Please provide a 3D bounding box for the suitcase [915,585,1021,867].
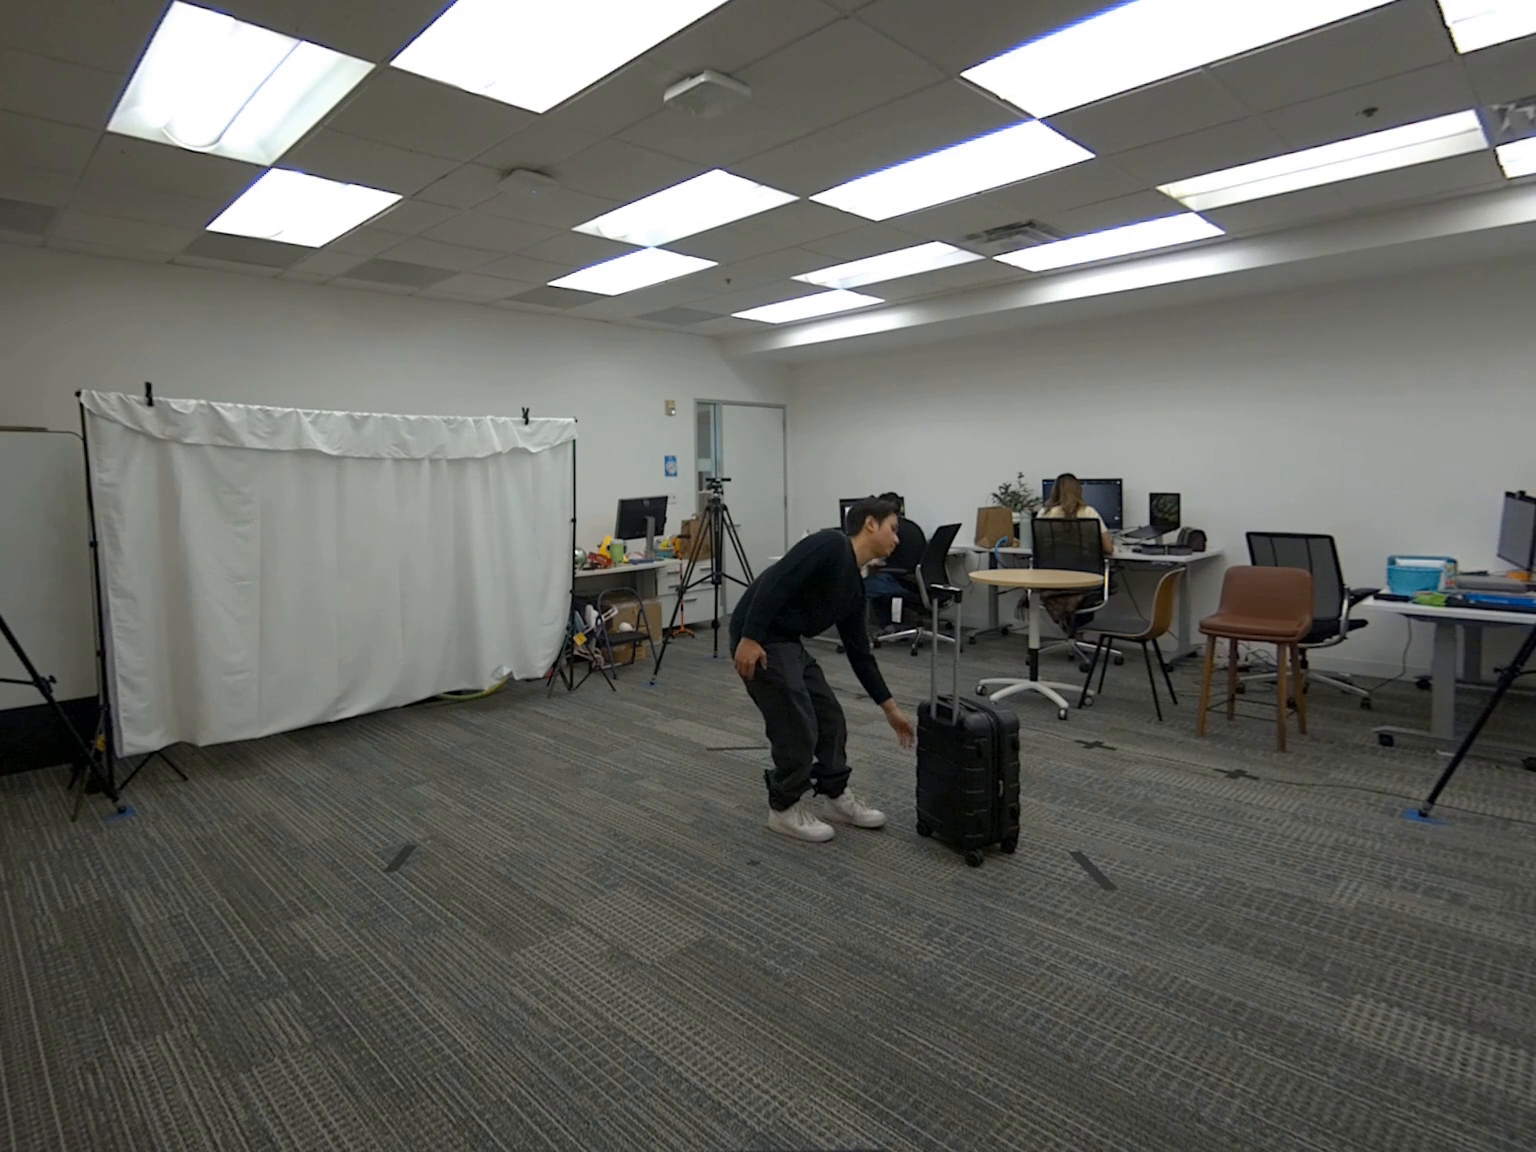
[{"bbox_3d":[0.754,0.539,3.225,0.251,0.978,0.393,0,1,-26],"label":"suitcase"}]
